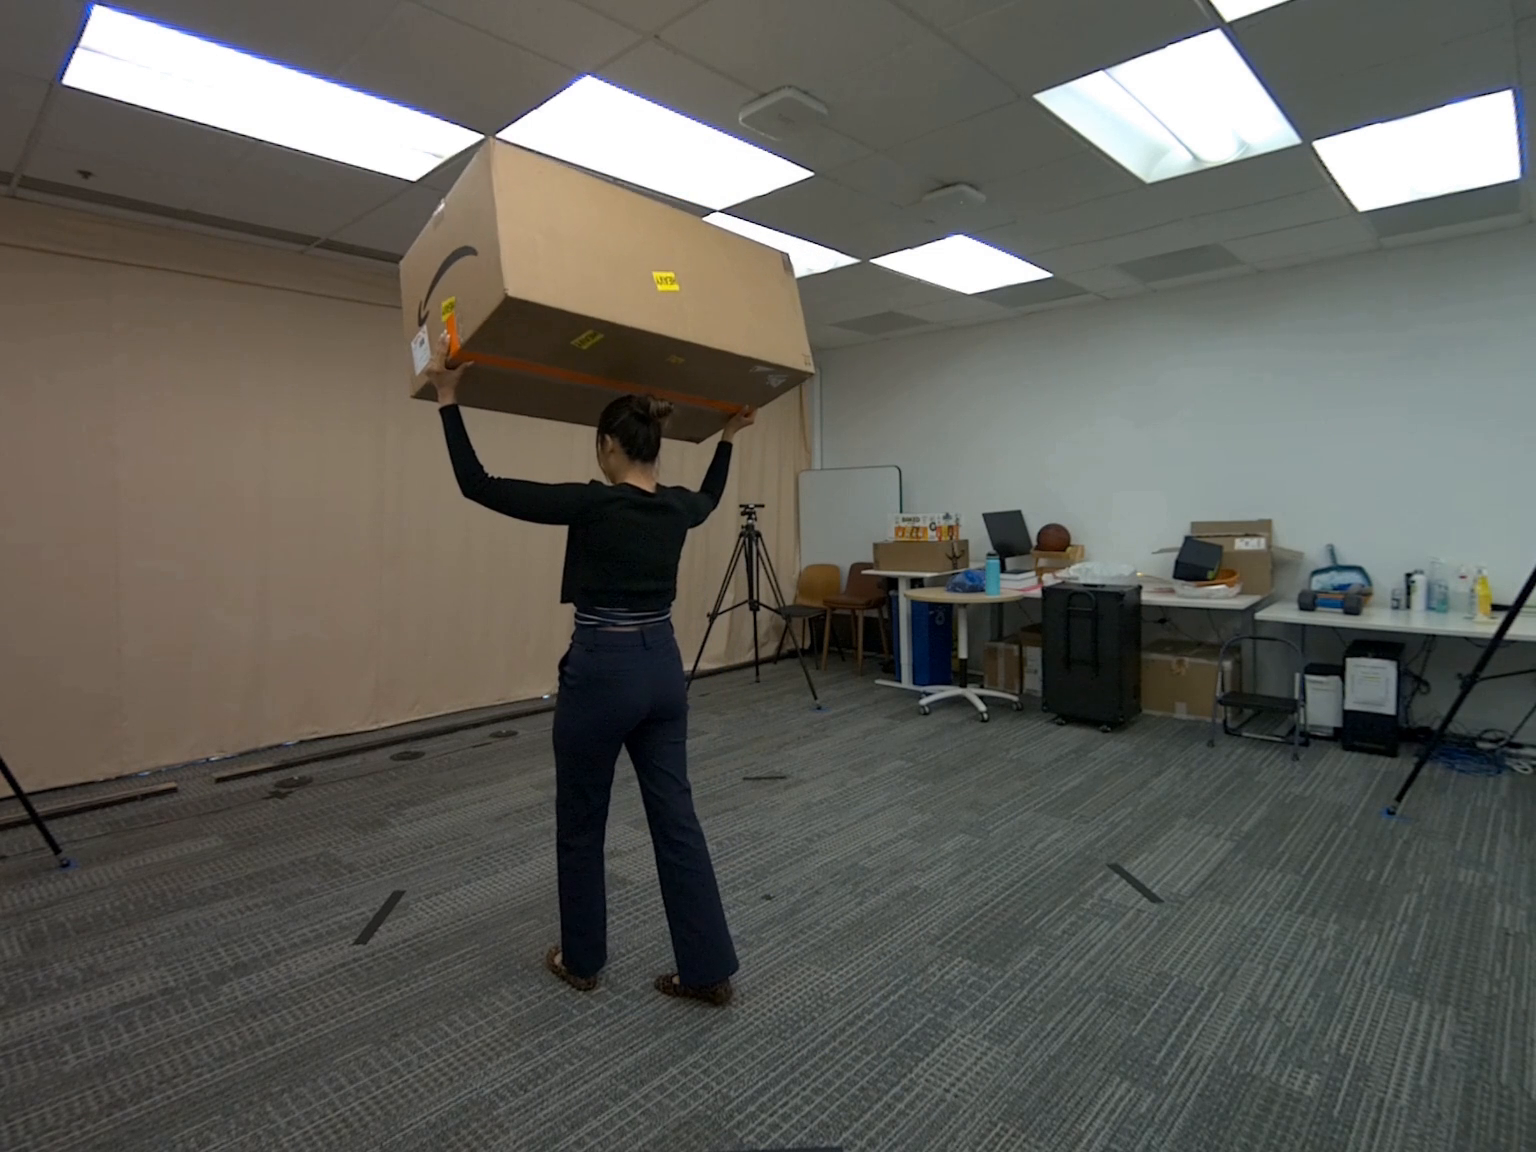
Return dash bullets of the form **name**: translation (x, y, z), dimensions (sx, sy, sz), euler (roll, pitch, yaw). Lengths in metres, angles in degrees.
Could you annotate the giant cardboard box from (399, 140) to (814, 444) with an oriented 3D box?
- **giant cardboard box**: translation (-0.438, -0.739, 2.455), dimensions (0.993, 0.431, 0.590), euler (2, -17, -43)
